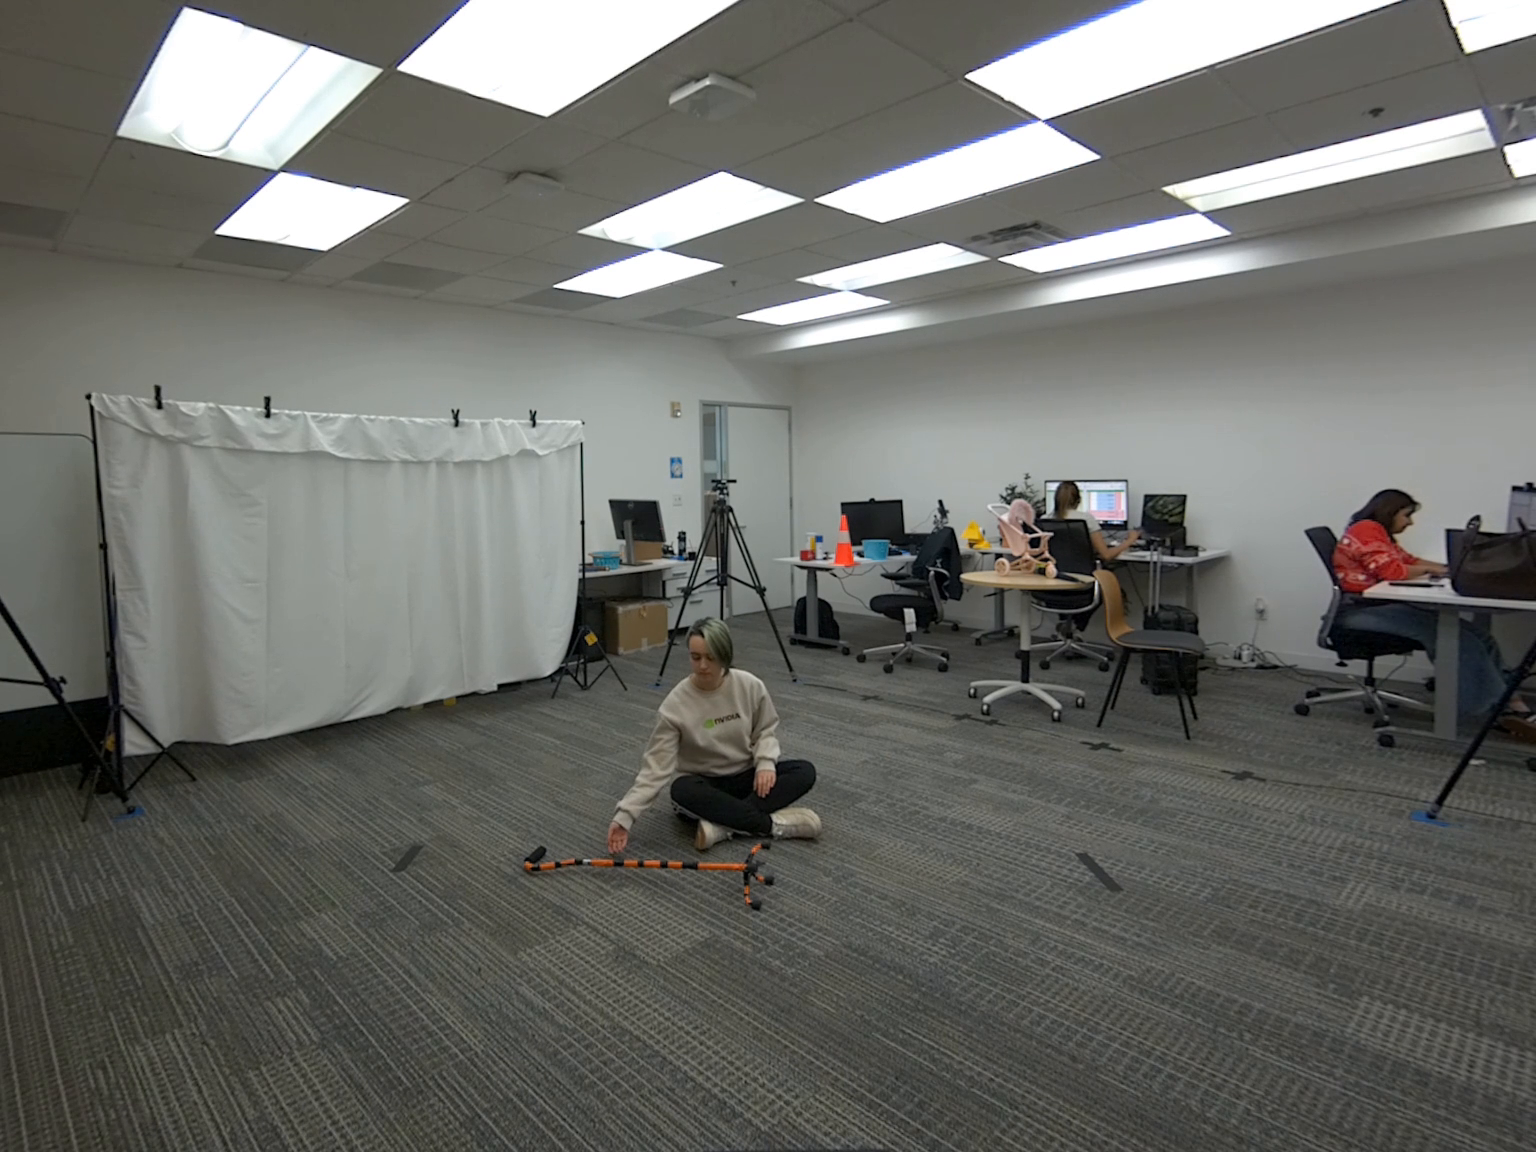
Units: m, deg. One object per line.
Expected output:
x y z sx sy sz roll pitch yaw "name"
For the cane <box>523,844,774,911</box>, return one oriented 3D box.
-0.446 1.019 2.993 0.922 0.151 0.204 -4 6 18 "cane"
